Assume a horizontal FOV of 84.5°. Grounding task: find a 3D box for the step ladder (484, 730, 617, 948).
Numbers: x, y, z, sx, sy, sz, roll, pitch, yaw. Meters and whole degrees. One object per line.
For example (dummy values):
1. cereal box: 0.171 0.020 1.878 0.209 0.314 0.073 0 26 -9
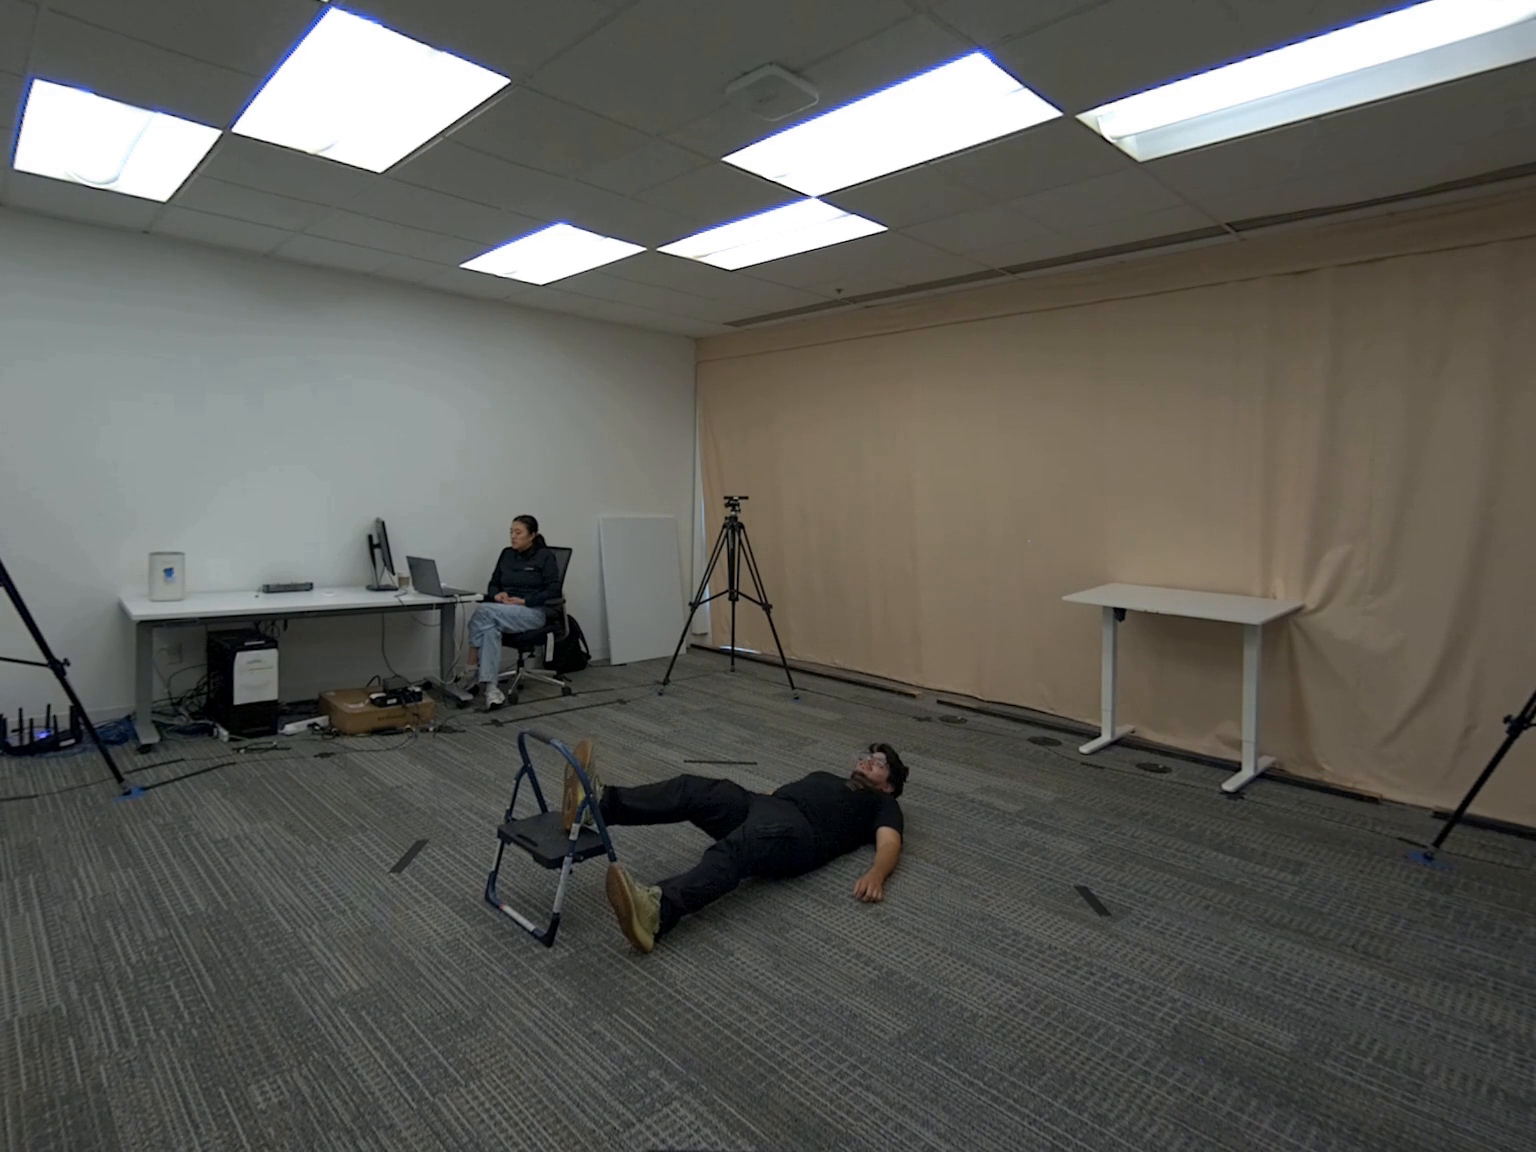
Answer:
1. step ladder: -0.703 0.815 2.823 0.341 0.604 0.441 -3 5 -45
